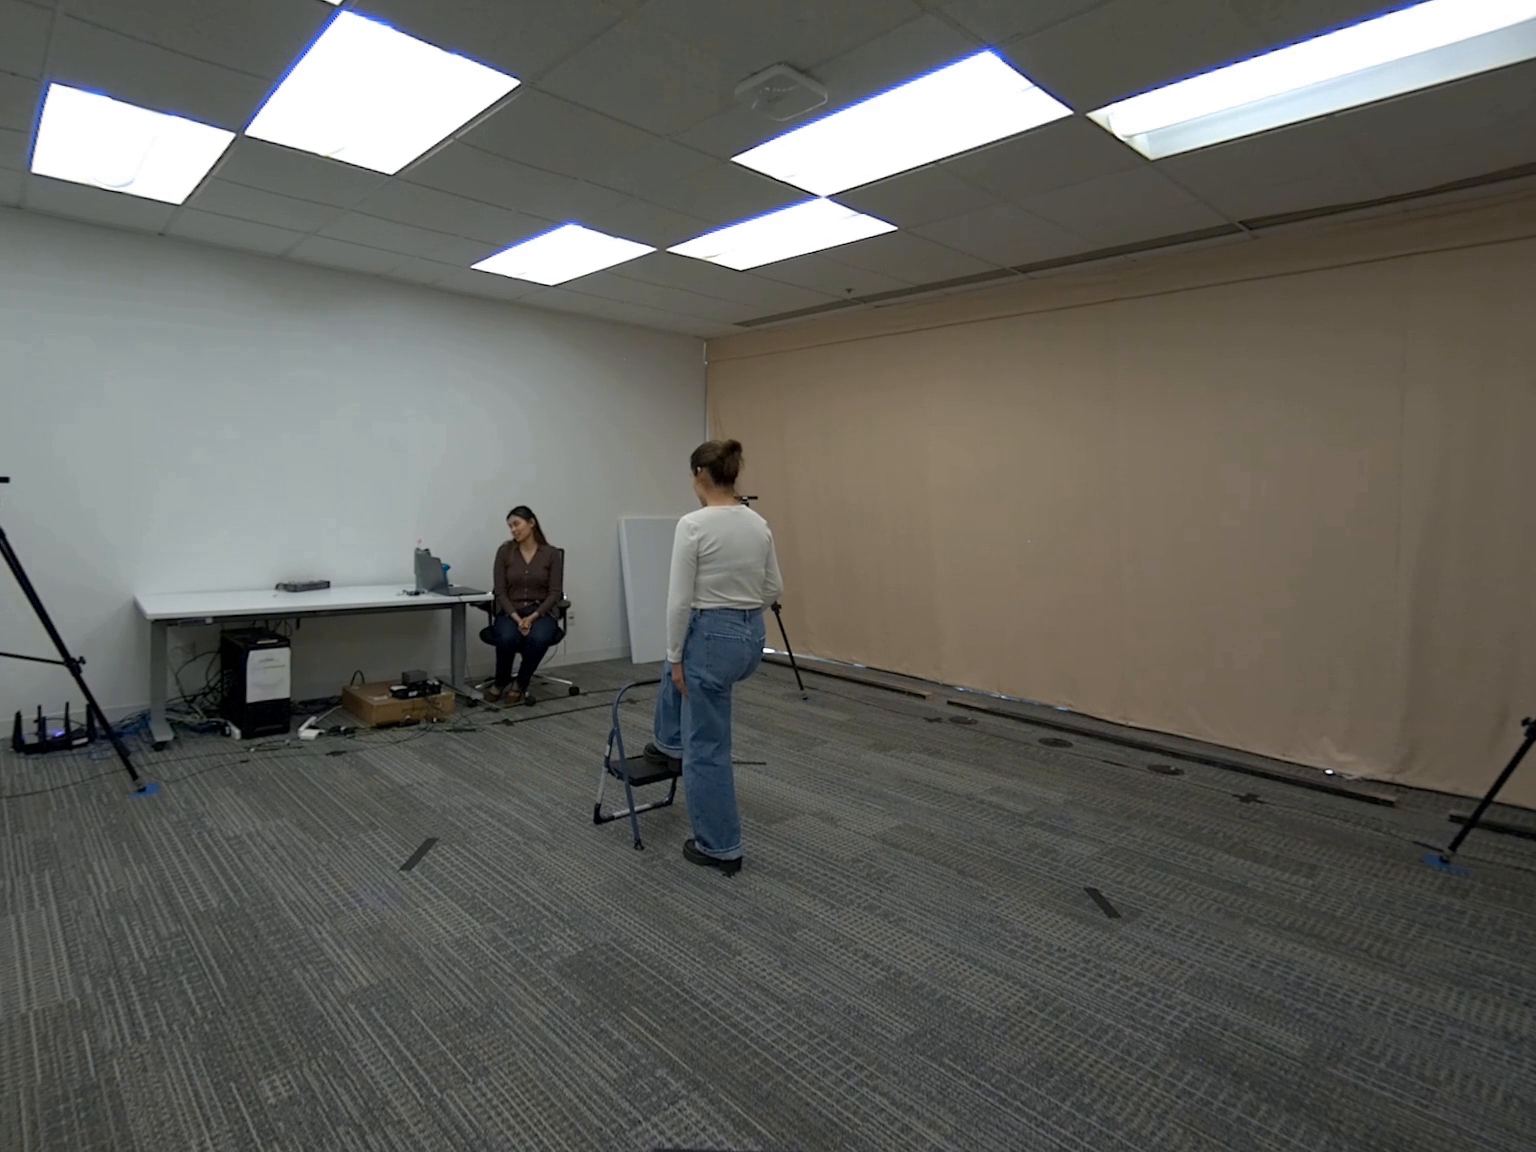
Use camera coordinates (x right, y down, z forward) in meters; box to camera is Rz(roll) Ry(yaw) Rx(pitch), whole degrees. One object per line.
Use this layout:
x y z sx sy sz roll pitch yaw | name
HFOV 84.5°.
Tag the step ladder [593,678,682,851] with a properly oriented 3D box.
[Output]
-0.475 0.754 3.555 0.421 0.605 0.358 -2 4 -44 | step ladder
